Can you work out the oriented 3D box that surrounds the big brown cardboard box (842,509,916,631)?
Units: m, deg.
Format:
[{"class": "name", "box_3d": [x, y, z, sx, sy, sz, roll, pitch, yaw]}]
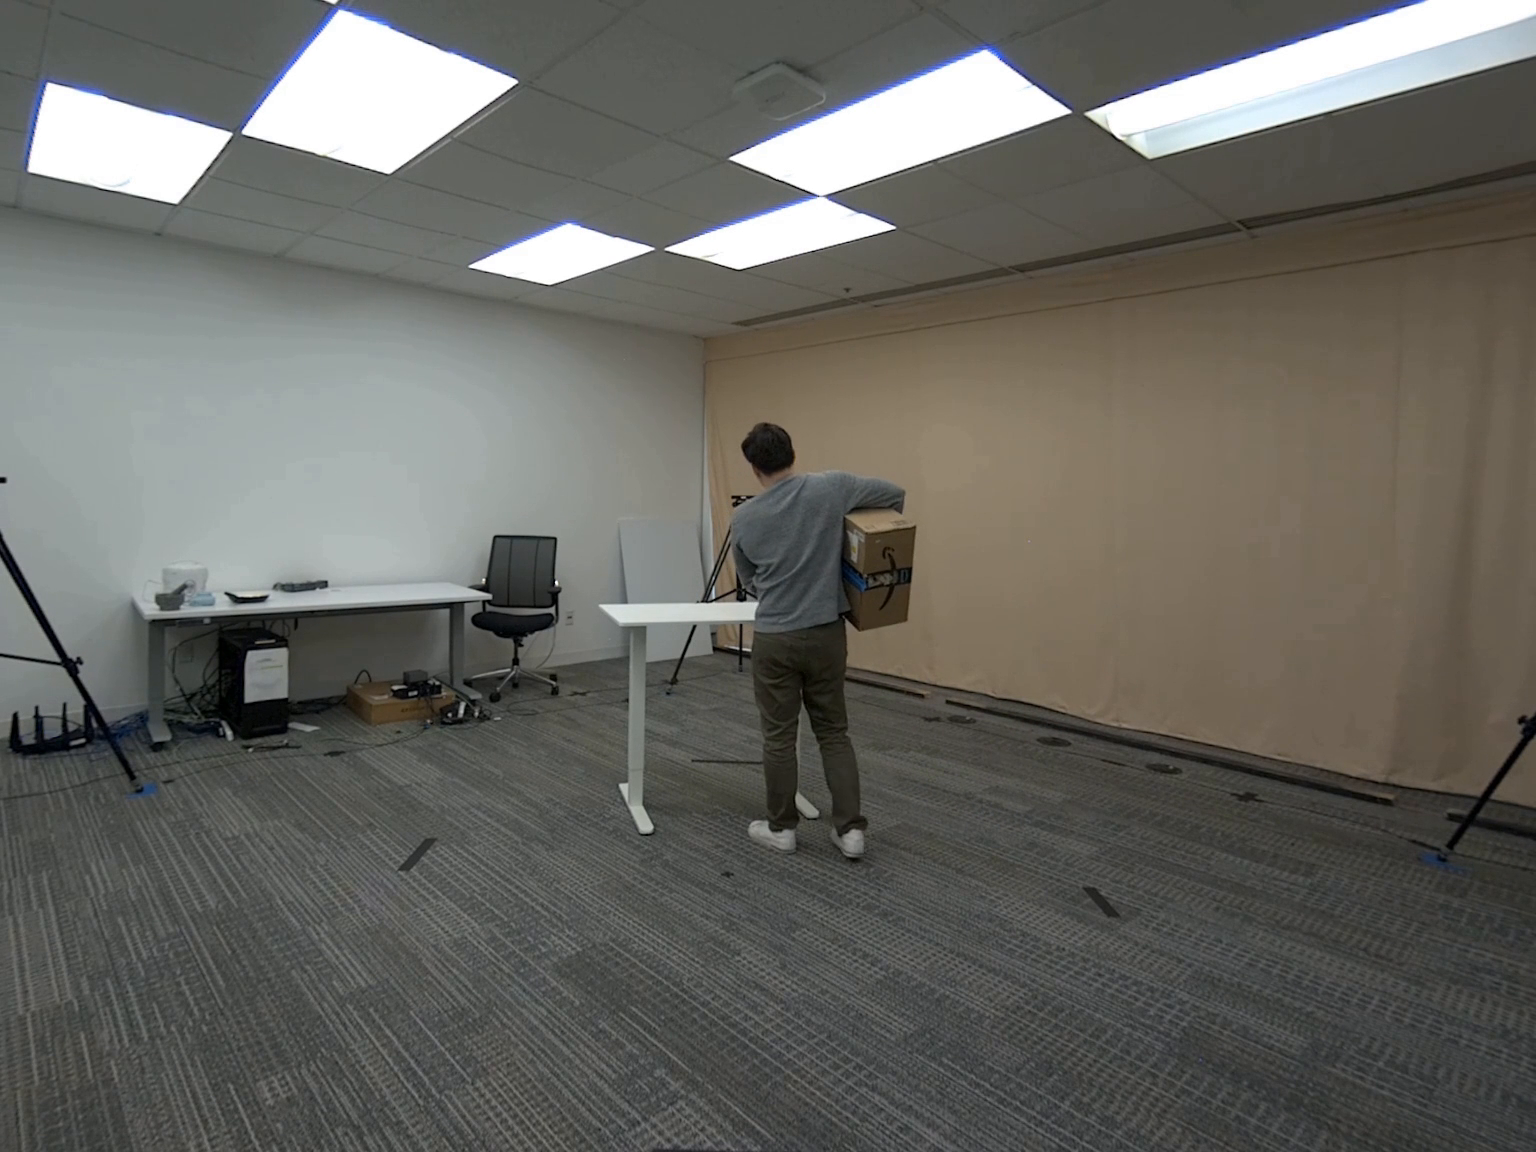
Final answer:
[{"class": "big brown cardboard box", "box_3d": [0.348, -0.100, 3.406, 0.230, 0.411, 0.606, -9, 26, -20]}]
